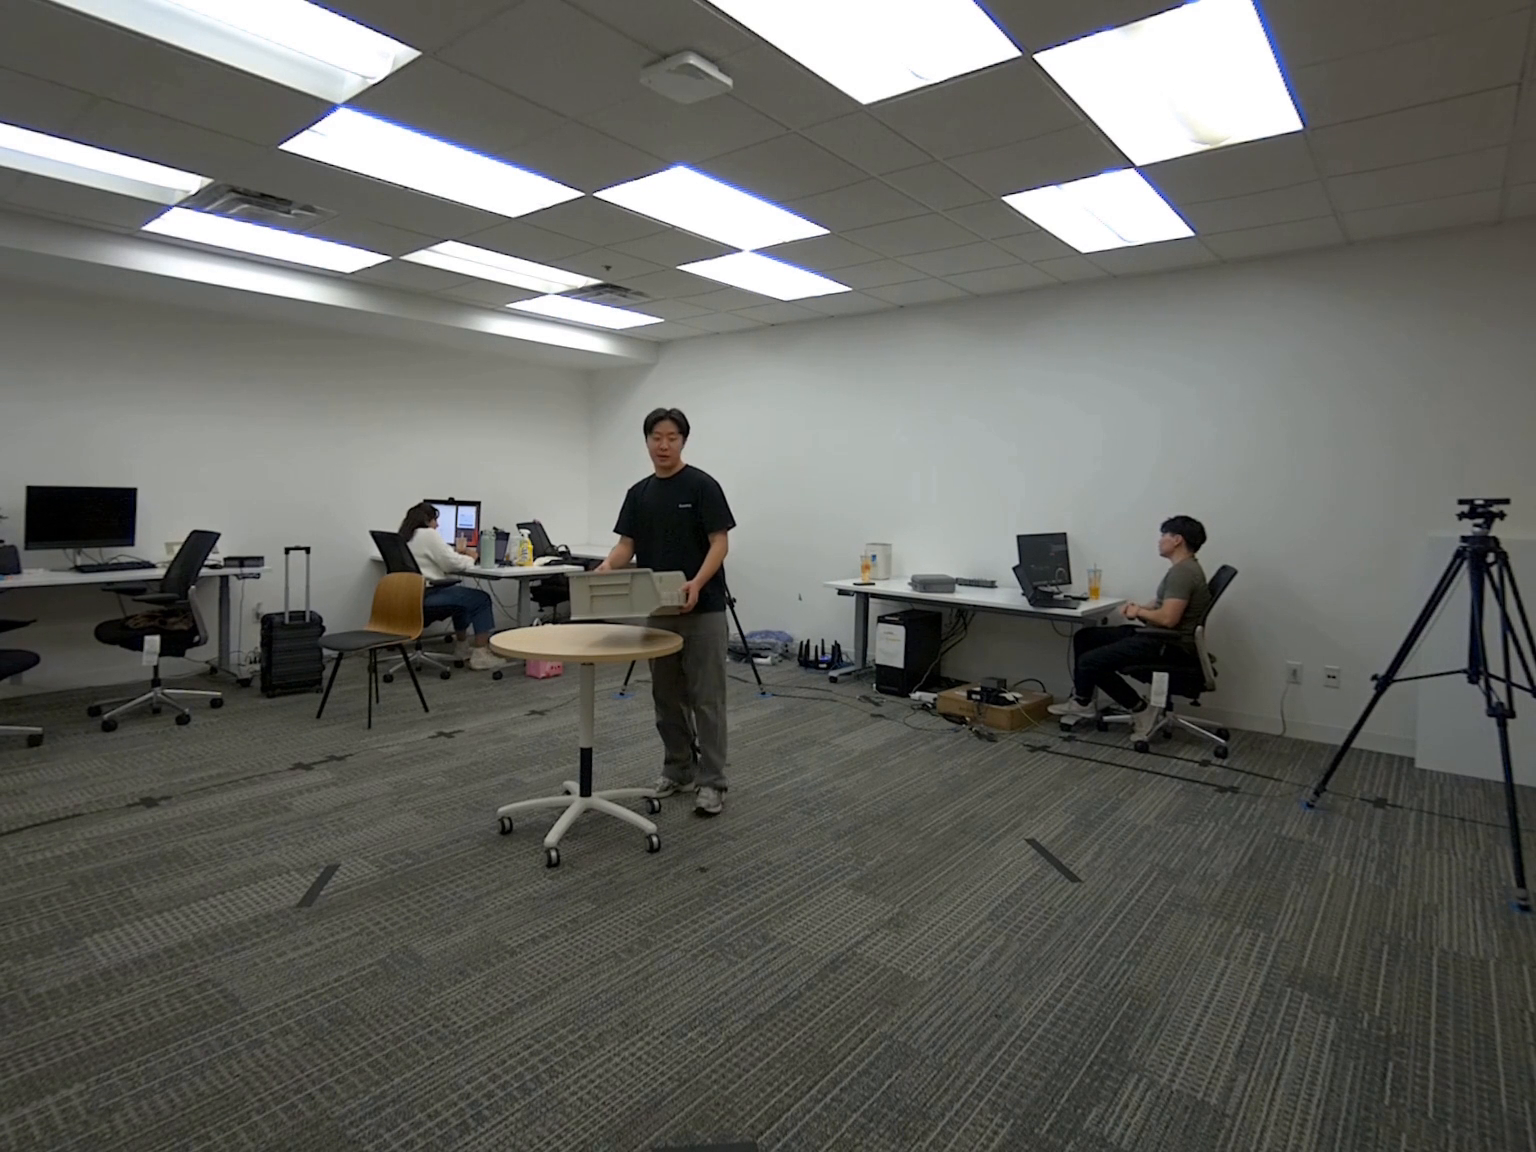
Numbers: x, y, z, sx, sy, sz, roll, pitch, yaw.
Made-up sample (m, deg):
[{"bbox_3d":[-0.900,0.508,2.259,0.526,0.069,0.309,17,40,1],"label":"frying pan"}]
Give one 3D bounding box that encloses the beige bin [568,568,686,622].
[{"bbox_3d":[-0.554,0.073,3.382,0.382,0.189,0.415,-3,-1,12],"label":"beige bin"}]
